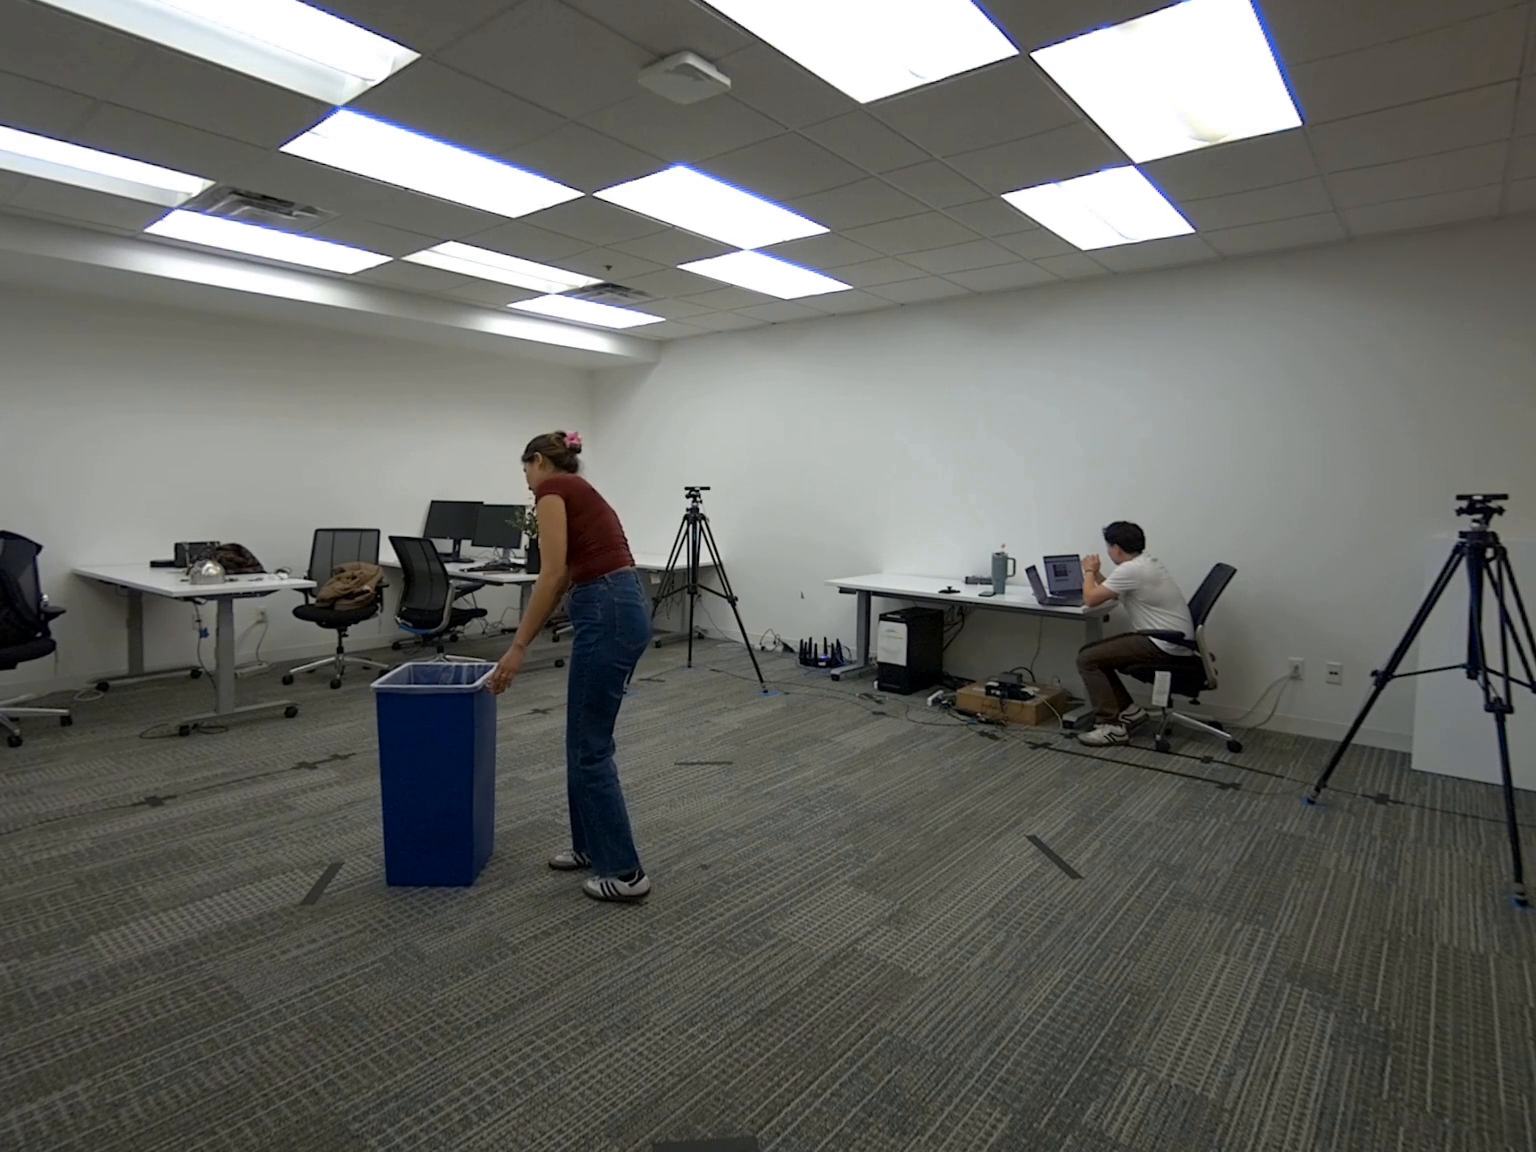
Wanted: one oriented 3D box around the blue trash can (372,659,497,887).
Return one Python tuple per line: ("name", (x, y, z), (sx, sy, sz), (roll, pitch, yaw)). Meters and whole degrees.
("blue trash can", (-1.193, 0.702, 3.061), (0.377, 0.712, 0.376), (0, 3, -3))
